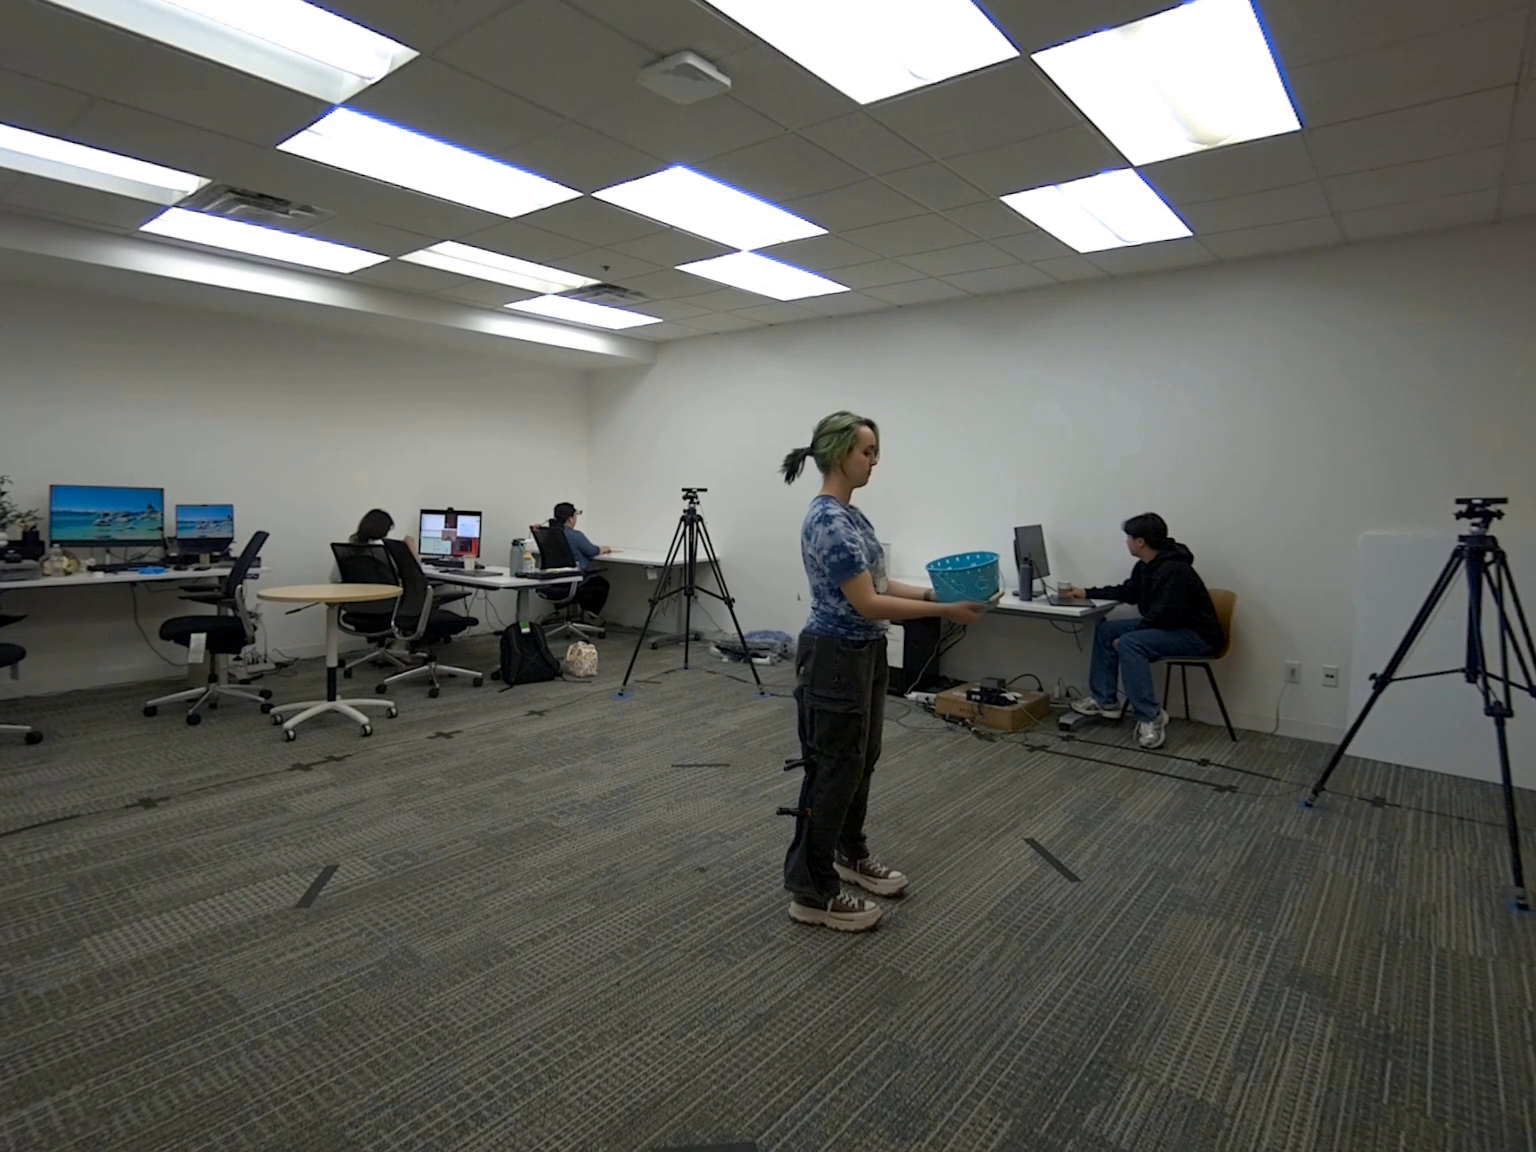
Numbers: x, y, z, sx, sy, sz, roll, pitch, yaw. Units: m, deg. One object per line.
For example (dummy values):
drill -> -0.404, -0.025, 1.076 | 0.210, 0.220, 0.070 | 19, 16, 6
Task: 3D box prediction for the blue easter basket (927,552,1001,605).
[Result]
blue easter basket -> 0.627, 0.026, 2.684 | 0.244, 0.154, 0.246 | -12, 10, 0
